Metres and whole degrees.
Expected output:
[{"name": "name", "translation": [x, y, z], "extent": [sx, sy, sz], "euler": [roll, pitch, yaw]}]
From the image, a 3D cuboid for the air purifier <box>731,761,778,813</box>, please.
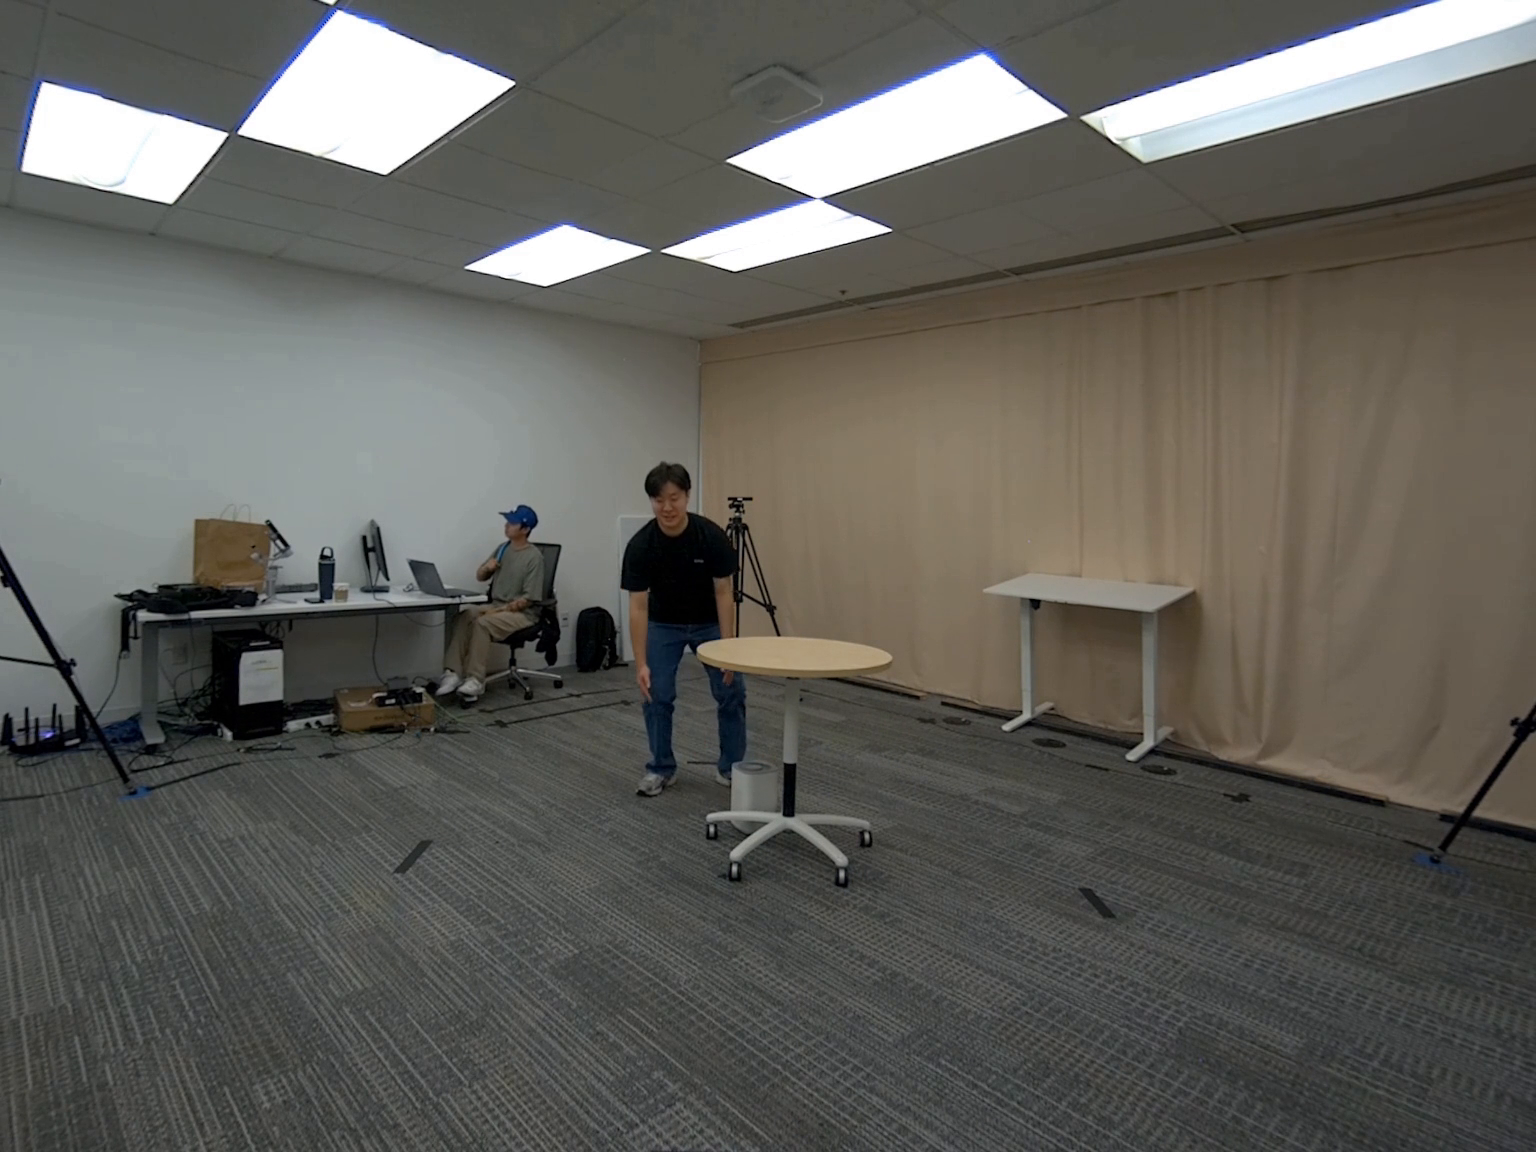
[{"name": "air purifier", "translation": [-0.077, 0.939, 3.574], "extent": [0.167, 0.264, 0.176], "euler": [-2, 6, -32]}]
